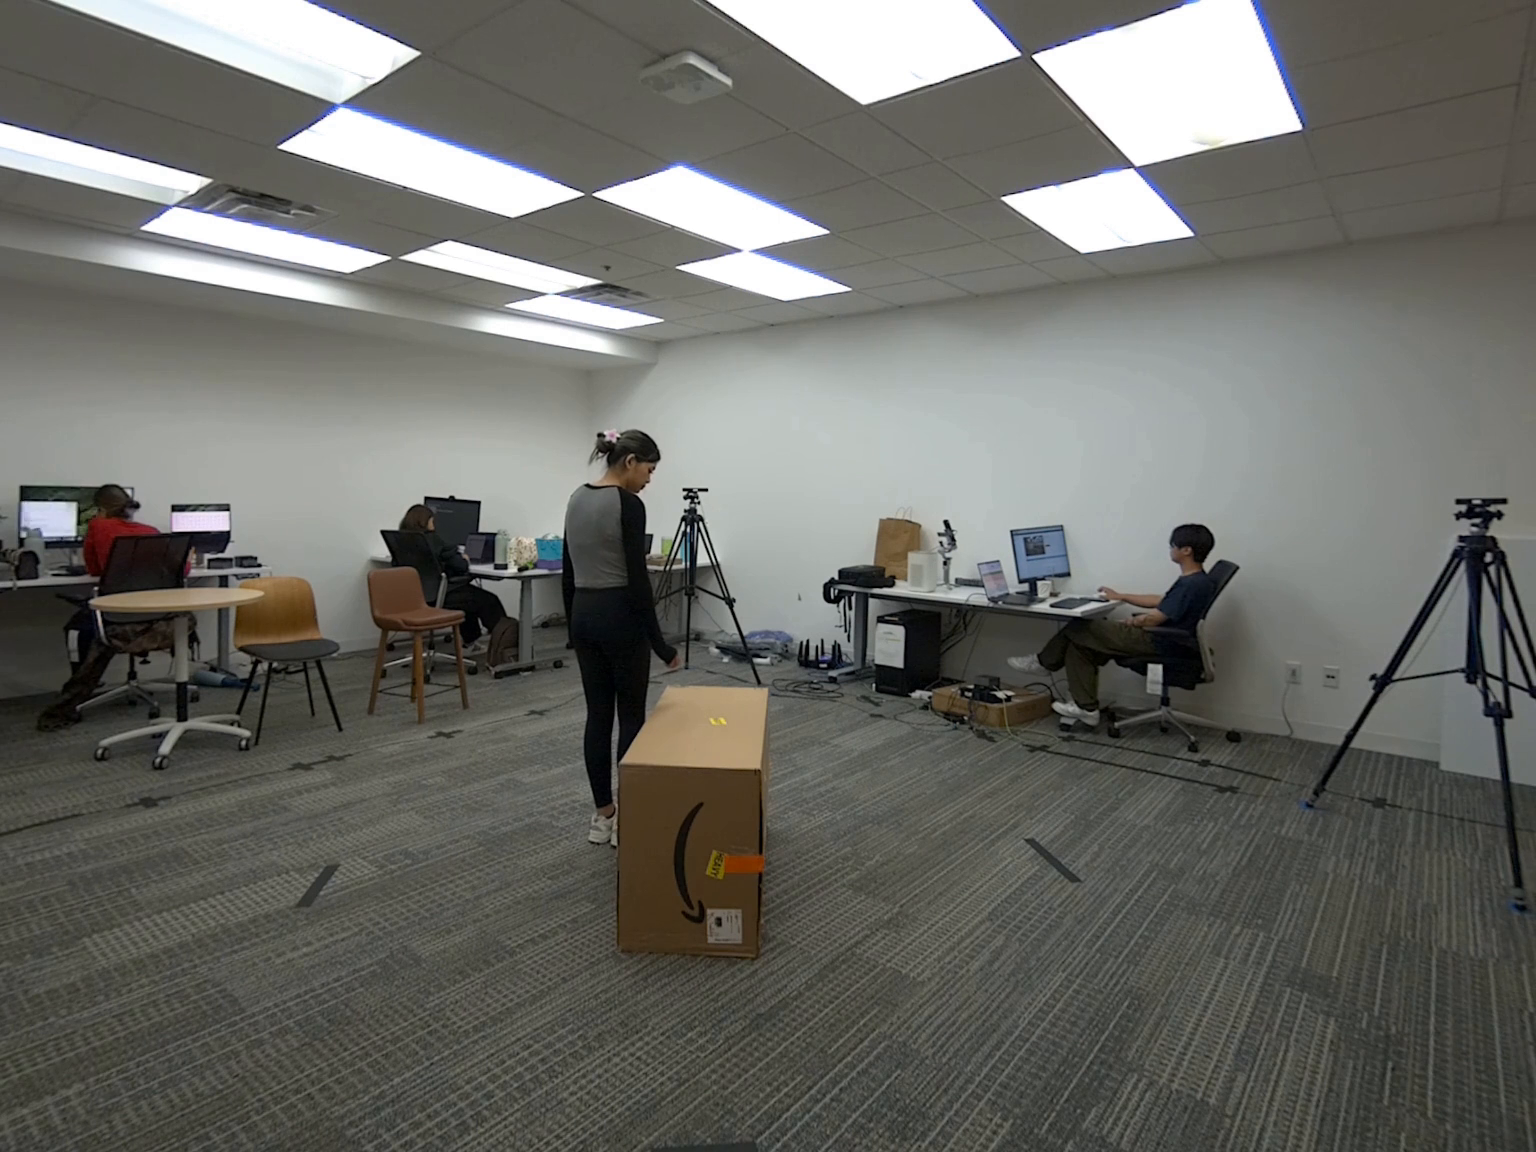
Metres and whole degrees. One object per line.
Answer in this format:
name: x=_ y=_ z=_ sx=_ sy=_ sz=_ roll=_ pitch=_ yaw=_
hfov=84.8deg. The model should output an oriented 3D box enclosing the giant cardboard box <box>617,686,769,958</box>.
giant cardboard box: x=-0.228 y=0.790 z=3.015 sx=0.428 sy=0.575 sz=1.026 roll=0 pitch=5 yaw=2
